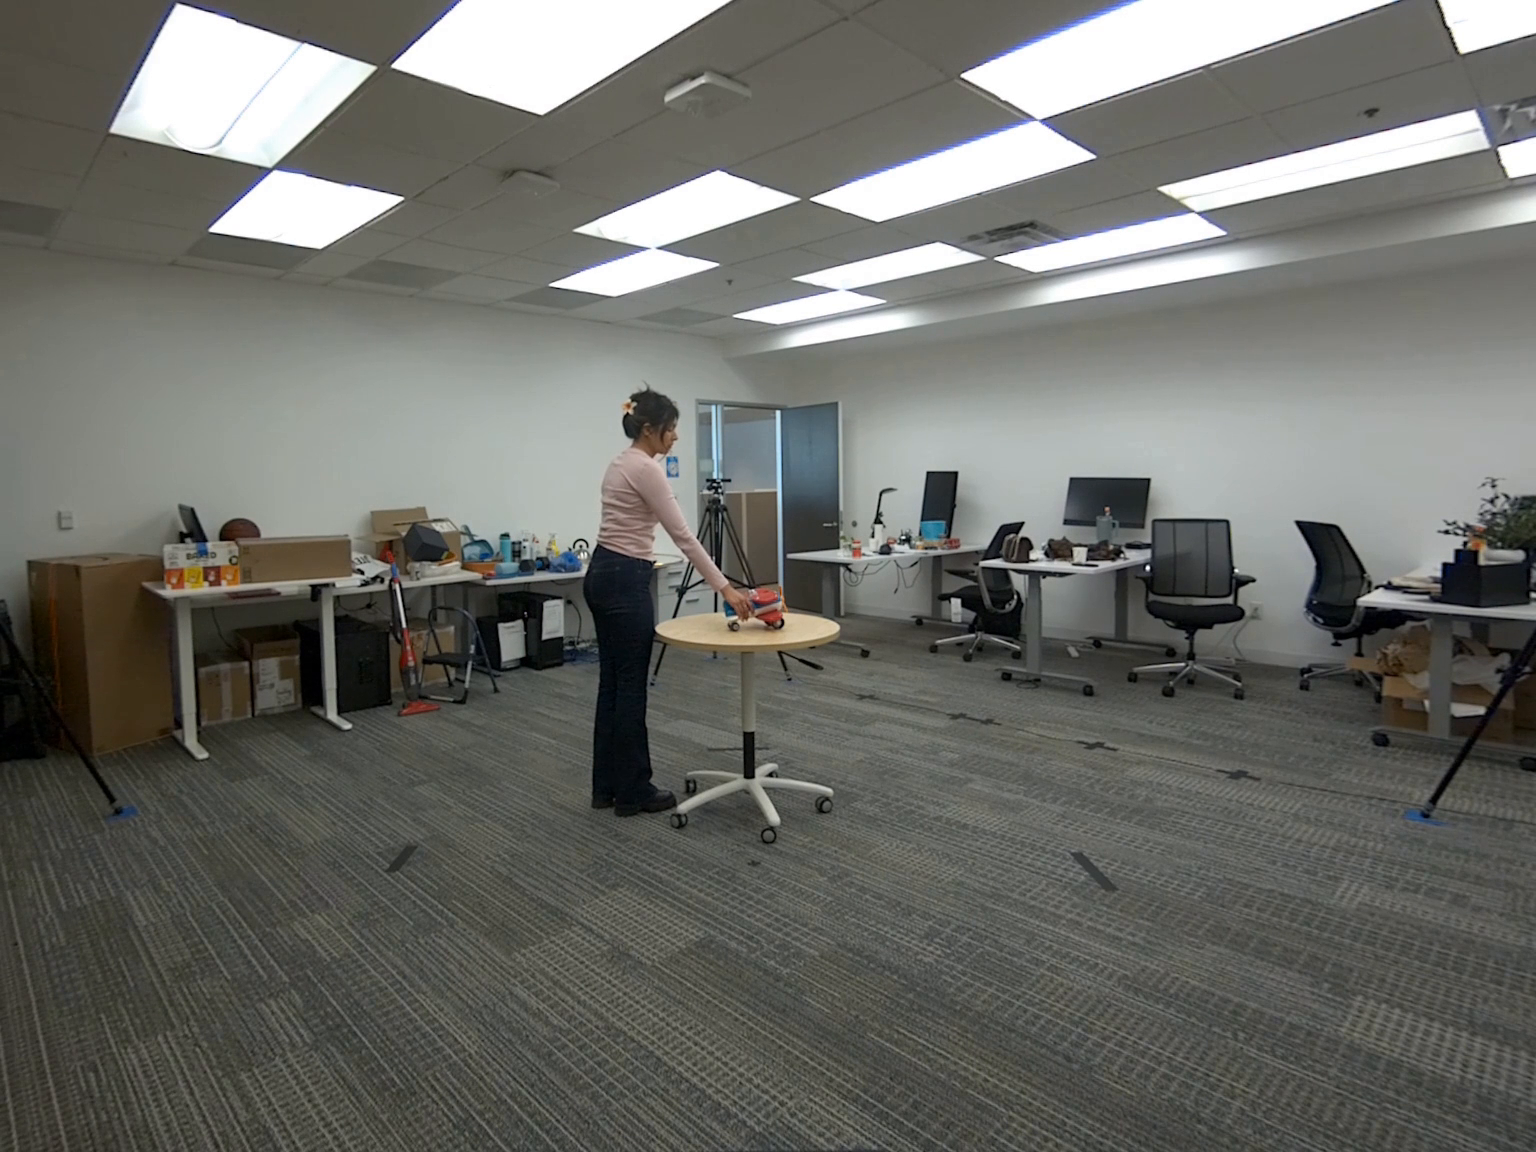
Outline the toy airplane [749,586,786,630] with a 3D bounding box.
[{"bbox_3d":[-0.052,0.143,3.483,0.252,0.155,0.259,-7,9,-42],"label":"toy airplane"}]
